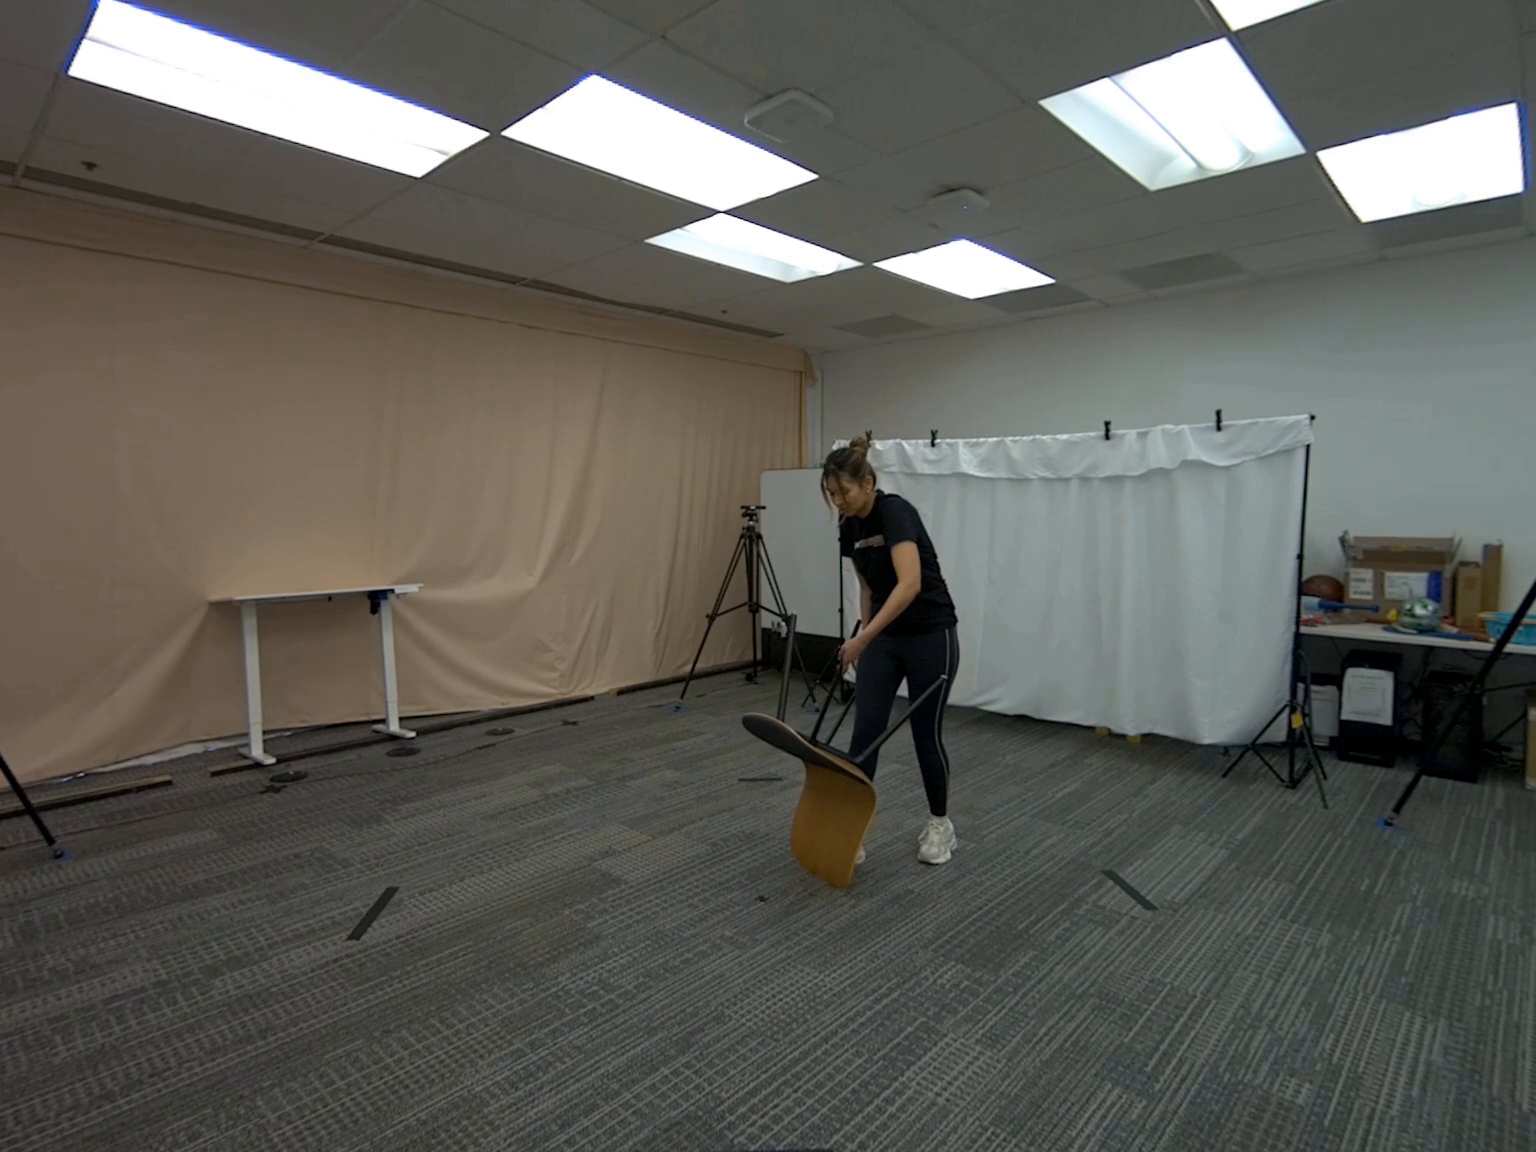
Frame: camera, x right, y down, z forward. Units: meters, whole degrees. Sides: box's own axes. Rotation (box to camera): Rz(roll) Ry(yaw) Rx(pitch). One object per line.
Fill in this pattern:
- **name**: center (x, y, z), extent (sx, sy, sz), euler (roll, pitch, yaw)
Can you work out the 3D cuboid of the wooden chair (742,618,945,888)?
- **wooden chair**: center (0.186, 0.631, 3.114), extent (0.509, 0.879, 0.491), euler (29, -13, -25)
